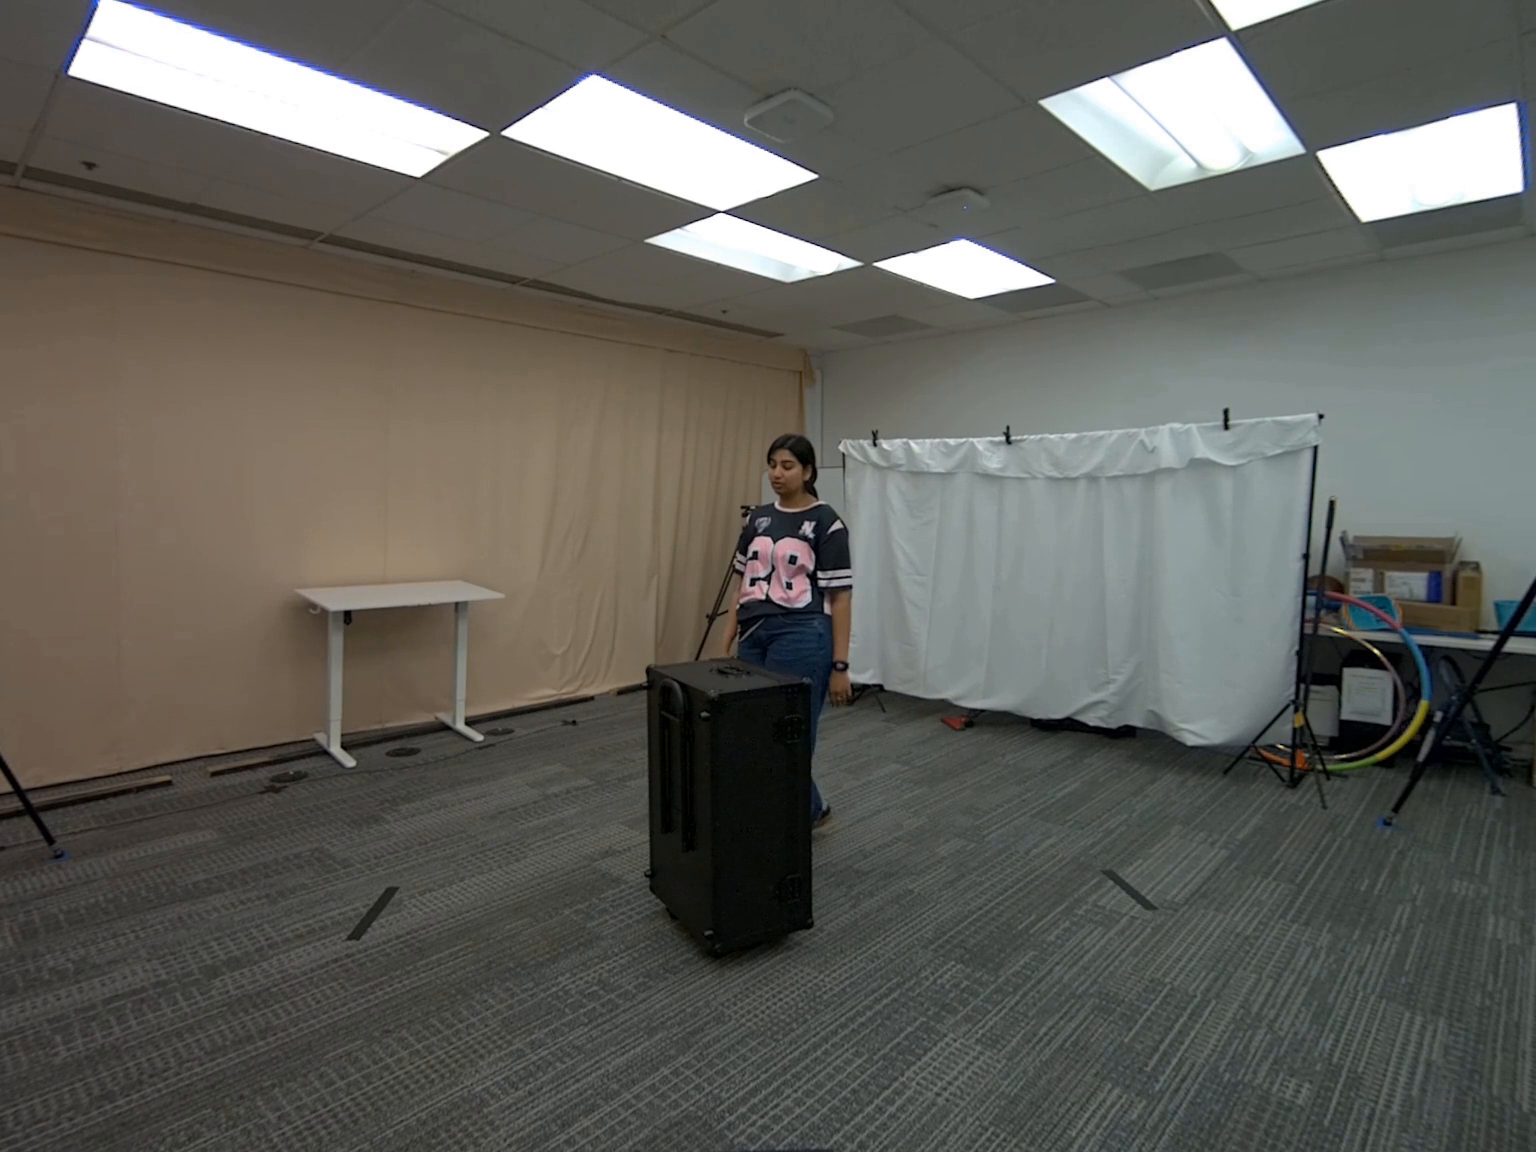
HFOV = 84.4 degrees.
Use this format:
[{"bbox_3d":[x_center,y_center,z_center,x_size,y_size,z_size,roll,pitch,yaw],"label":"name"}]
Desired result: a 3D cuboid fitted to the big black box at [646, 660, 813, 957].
[{"bbox_3d":[-0.135,0.742,2.740,0.375,0.867,0.538,-2,4,-29],"label":"big black box"}]
